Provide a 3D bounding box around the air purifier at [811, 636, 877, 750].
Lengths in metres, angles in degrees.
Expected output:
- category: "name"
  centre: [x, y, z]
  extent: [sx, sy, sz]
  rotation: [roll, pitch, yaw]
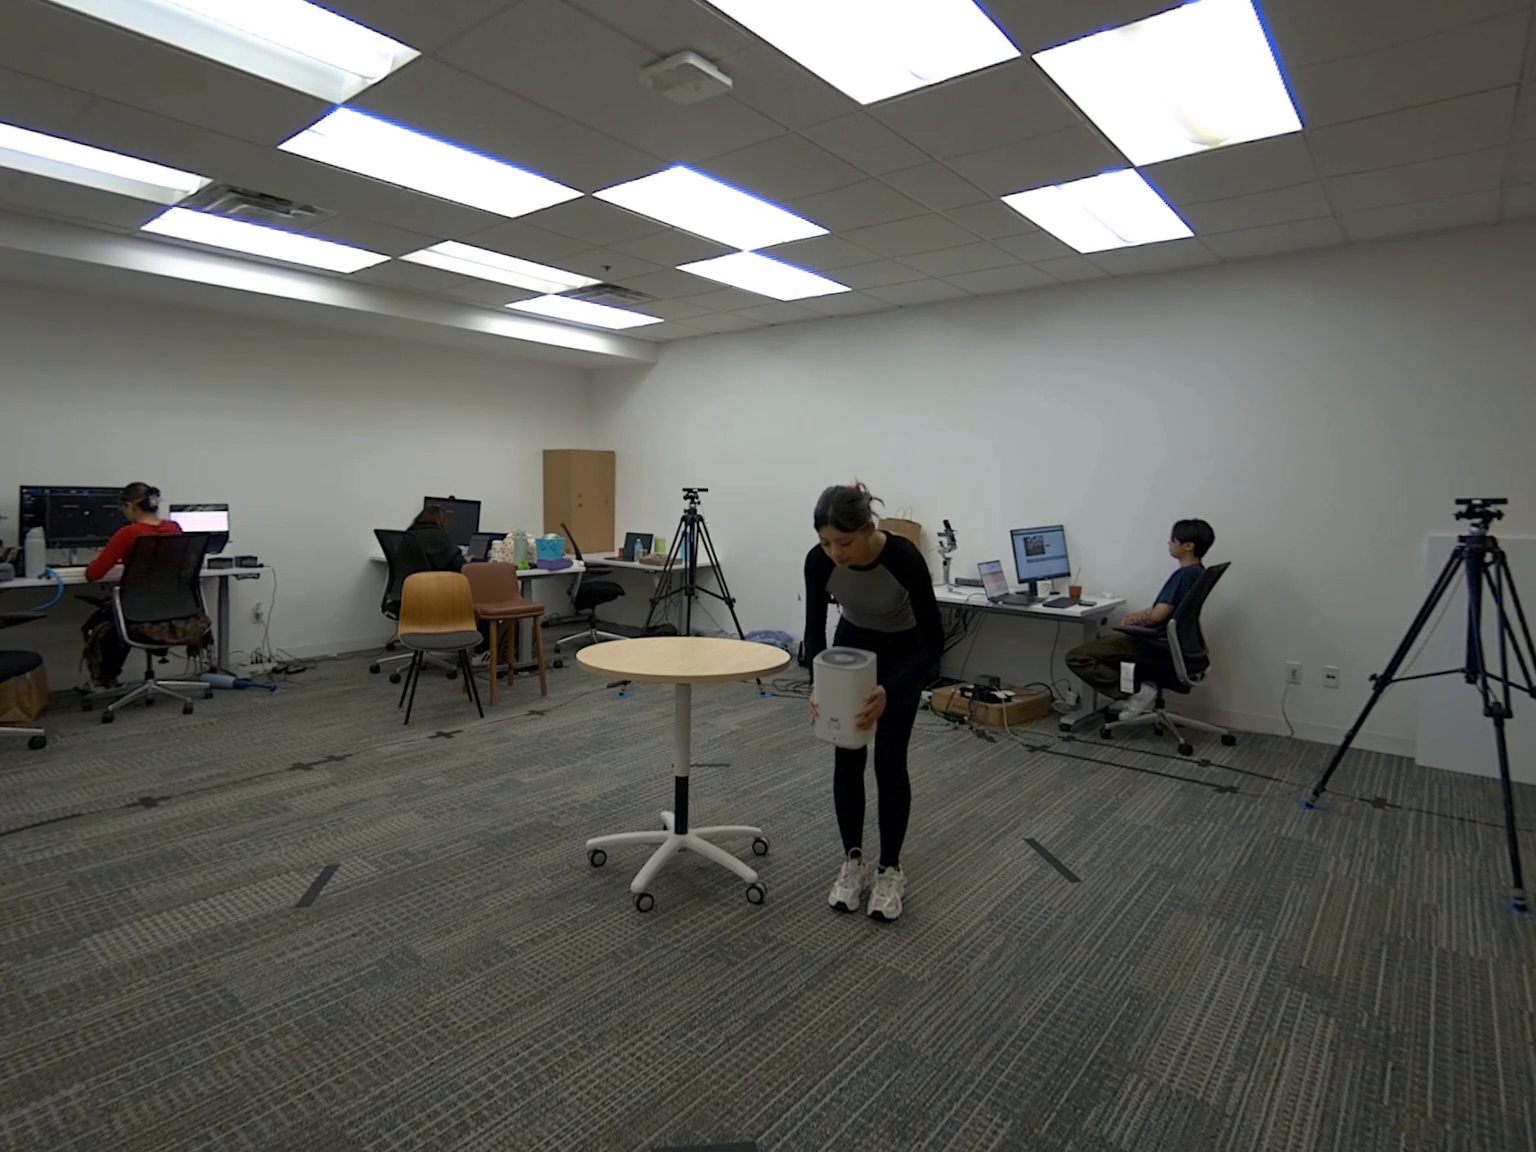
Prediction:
- category: "air purifier"
  centre: [0.236, 0.374, 2.619]
  extent: [0.176, 0.262, 0.169]
  rotation: [1, 15, 29]
